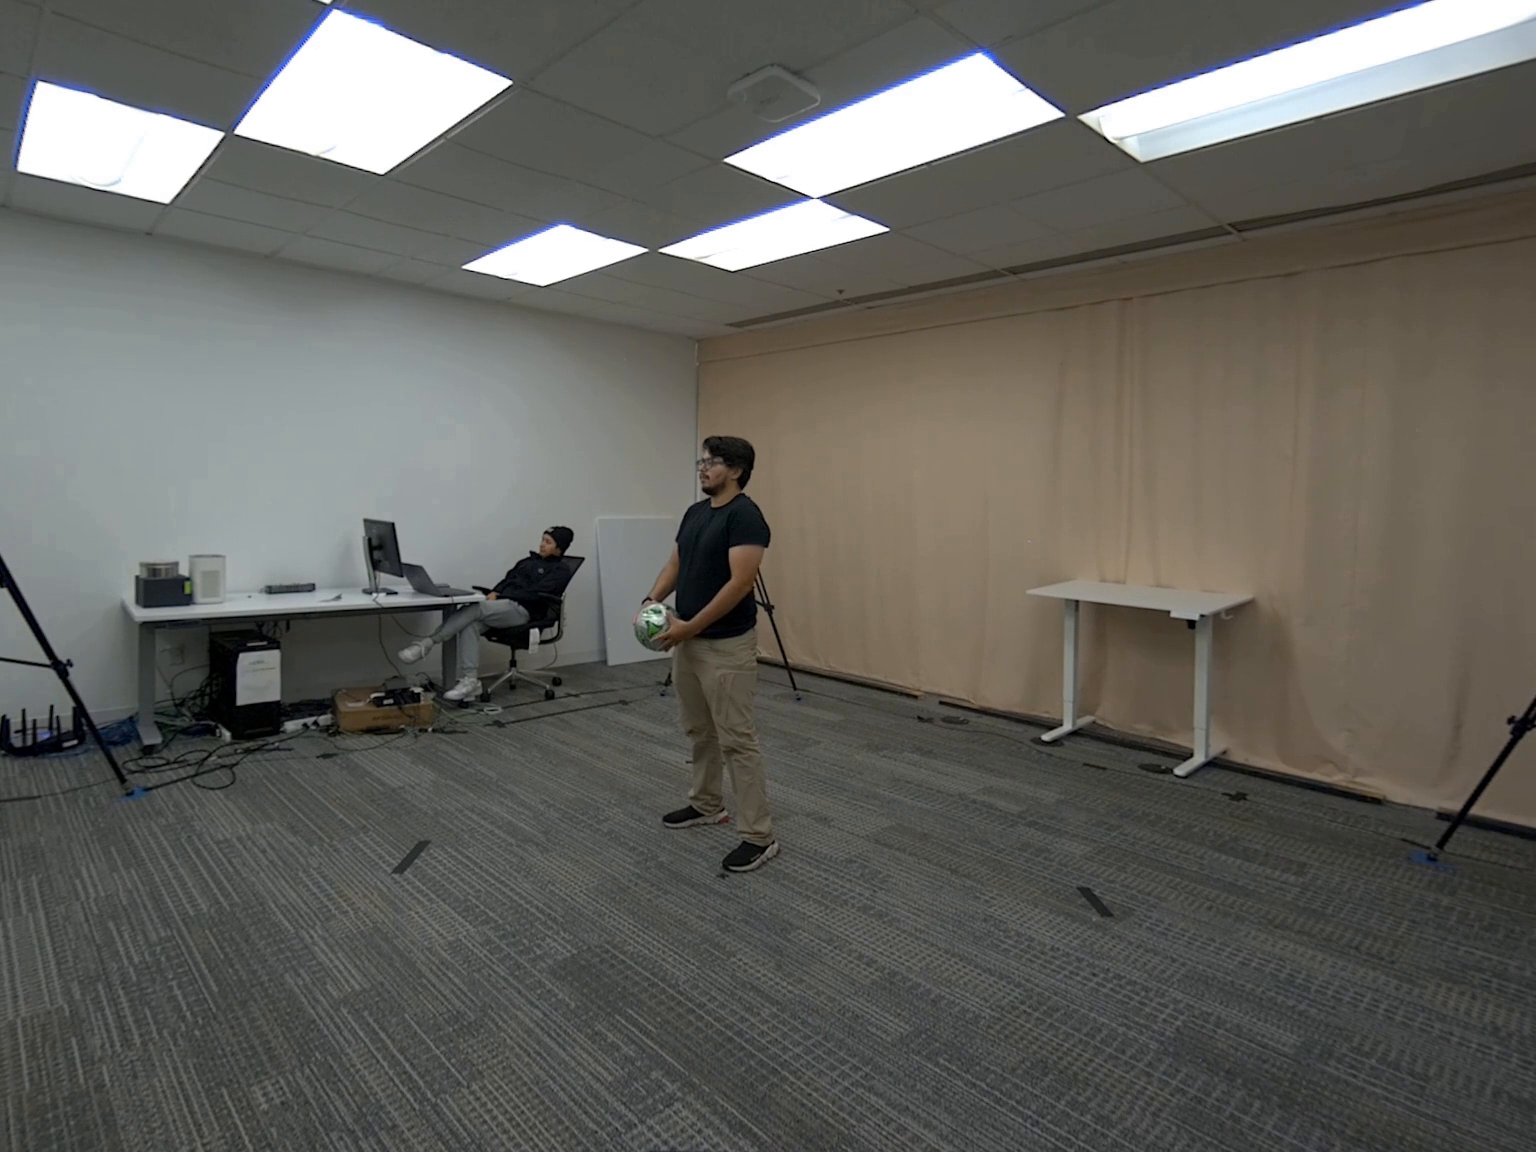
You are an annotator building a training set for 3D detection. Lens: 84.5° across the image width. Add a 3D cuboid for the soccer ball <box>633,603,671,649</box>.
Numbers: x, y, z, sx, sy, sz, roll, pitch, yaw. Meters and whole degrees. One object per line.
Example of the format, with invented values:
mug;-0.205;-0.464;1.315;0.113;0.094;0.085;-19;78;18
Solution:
soccer ball;-0.438;0.197;3.297;0.187;0.187;0.188;1;4;-1
